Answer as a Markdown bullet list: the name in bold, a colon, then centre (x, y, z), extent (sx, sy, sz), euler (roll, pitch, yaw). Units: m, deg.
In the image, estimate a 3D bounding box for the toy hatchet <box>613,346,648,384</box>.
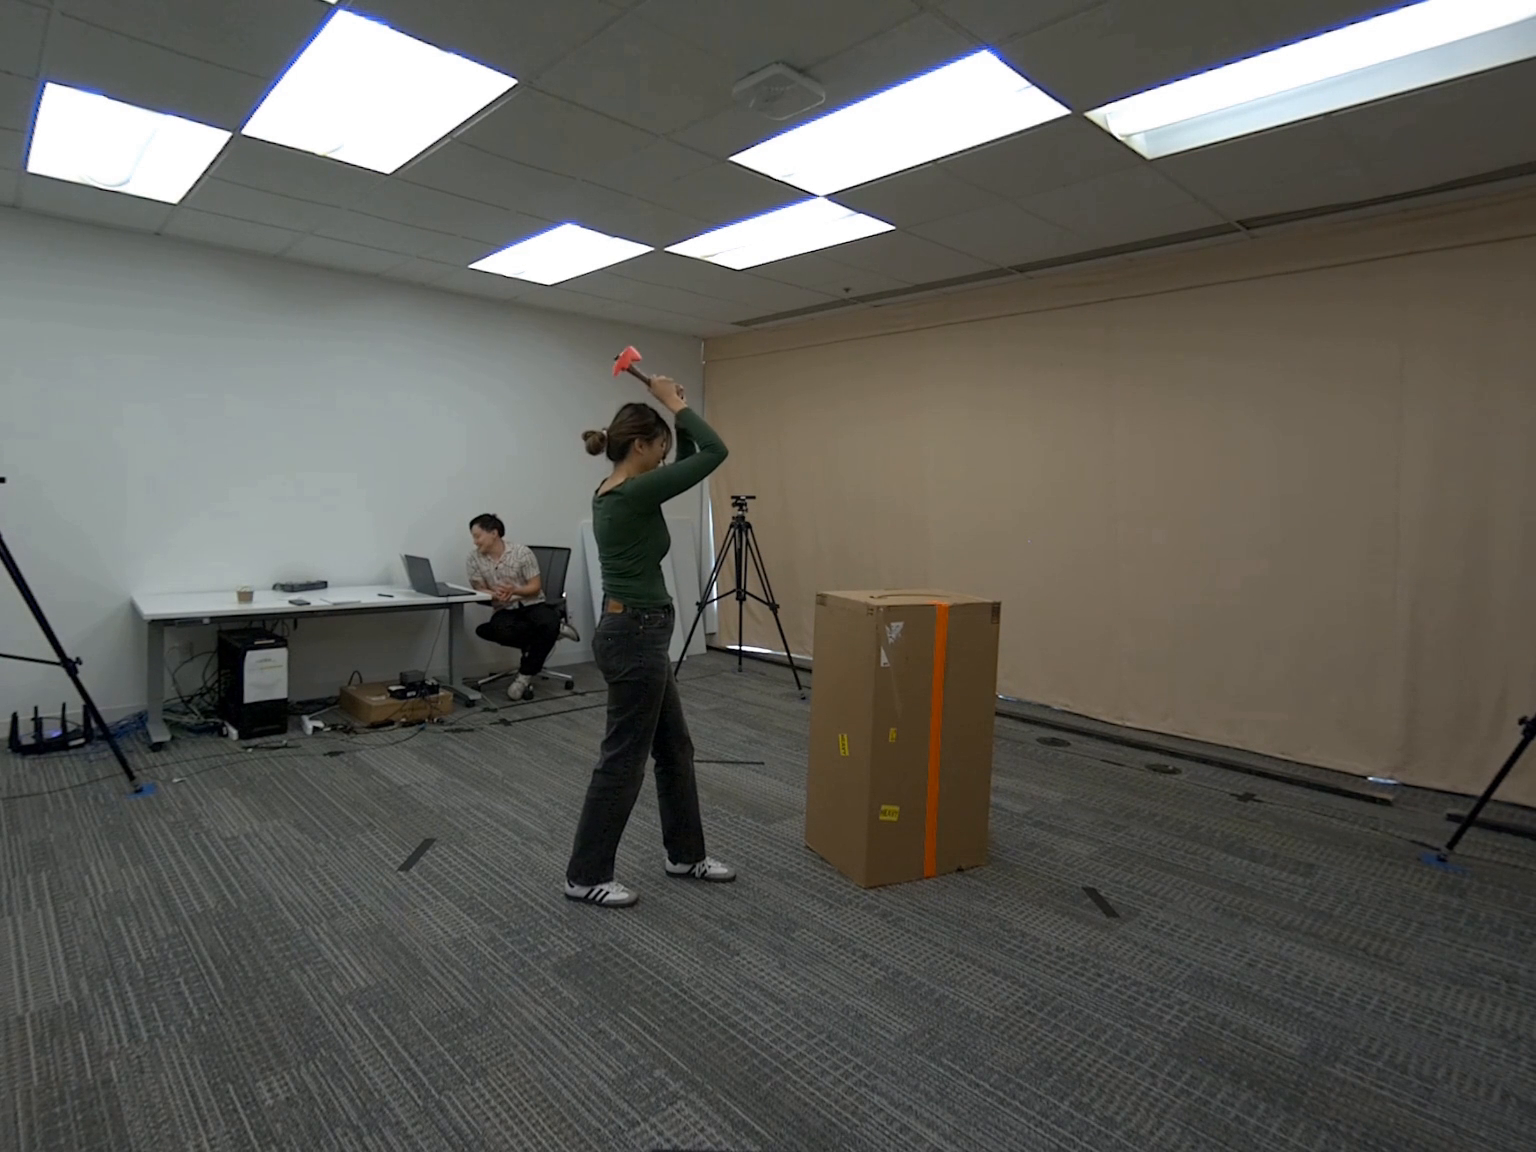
- **toy hatchet**: centre (-0.407, -0.708, 2.907), extent (0.263, 0.132, 0.030), euler (15, -18, -30)
